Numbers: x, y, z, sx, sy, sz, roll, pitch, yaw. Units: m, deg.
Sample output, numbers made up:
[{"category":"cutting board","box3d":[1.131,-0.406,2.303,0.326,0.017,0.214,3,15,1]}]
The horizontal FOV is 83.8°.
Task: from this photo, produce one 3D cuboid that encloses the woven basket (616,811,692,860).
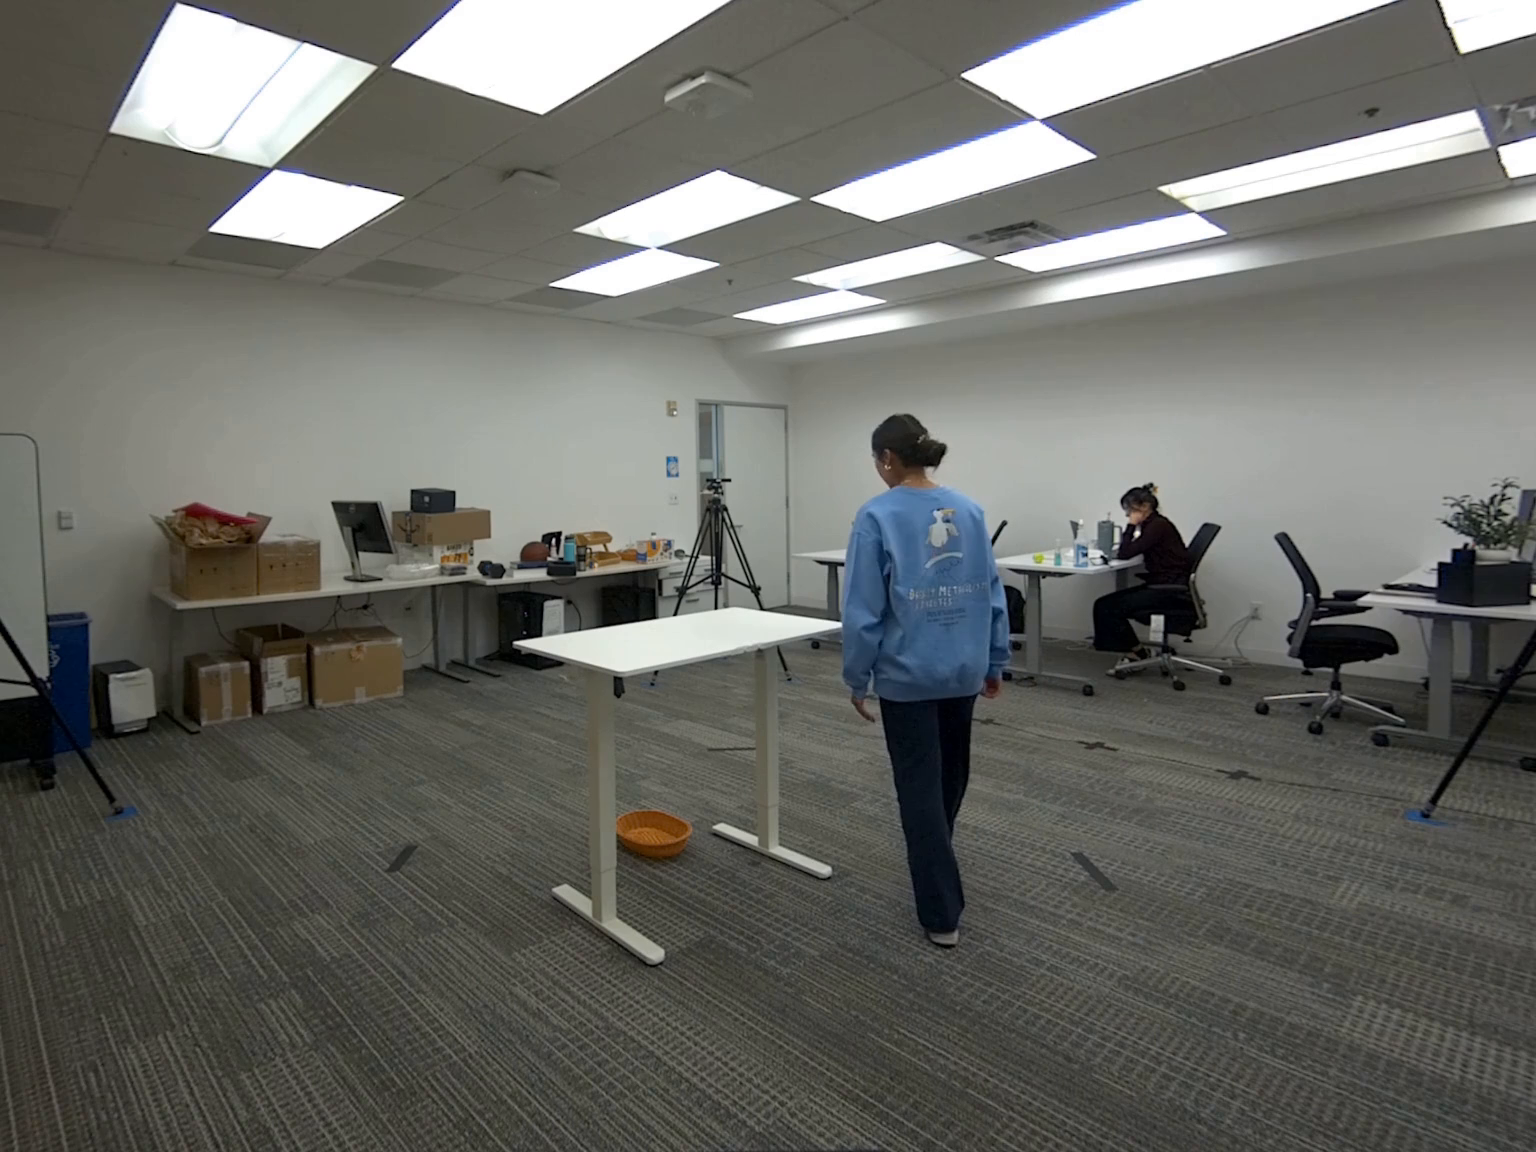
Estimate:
[{"category":"woven basket","box3d":[-0.441,0.989,3.275,0.246,0.073,0.361,-8,10,-41]}]
